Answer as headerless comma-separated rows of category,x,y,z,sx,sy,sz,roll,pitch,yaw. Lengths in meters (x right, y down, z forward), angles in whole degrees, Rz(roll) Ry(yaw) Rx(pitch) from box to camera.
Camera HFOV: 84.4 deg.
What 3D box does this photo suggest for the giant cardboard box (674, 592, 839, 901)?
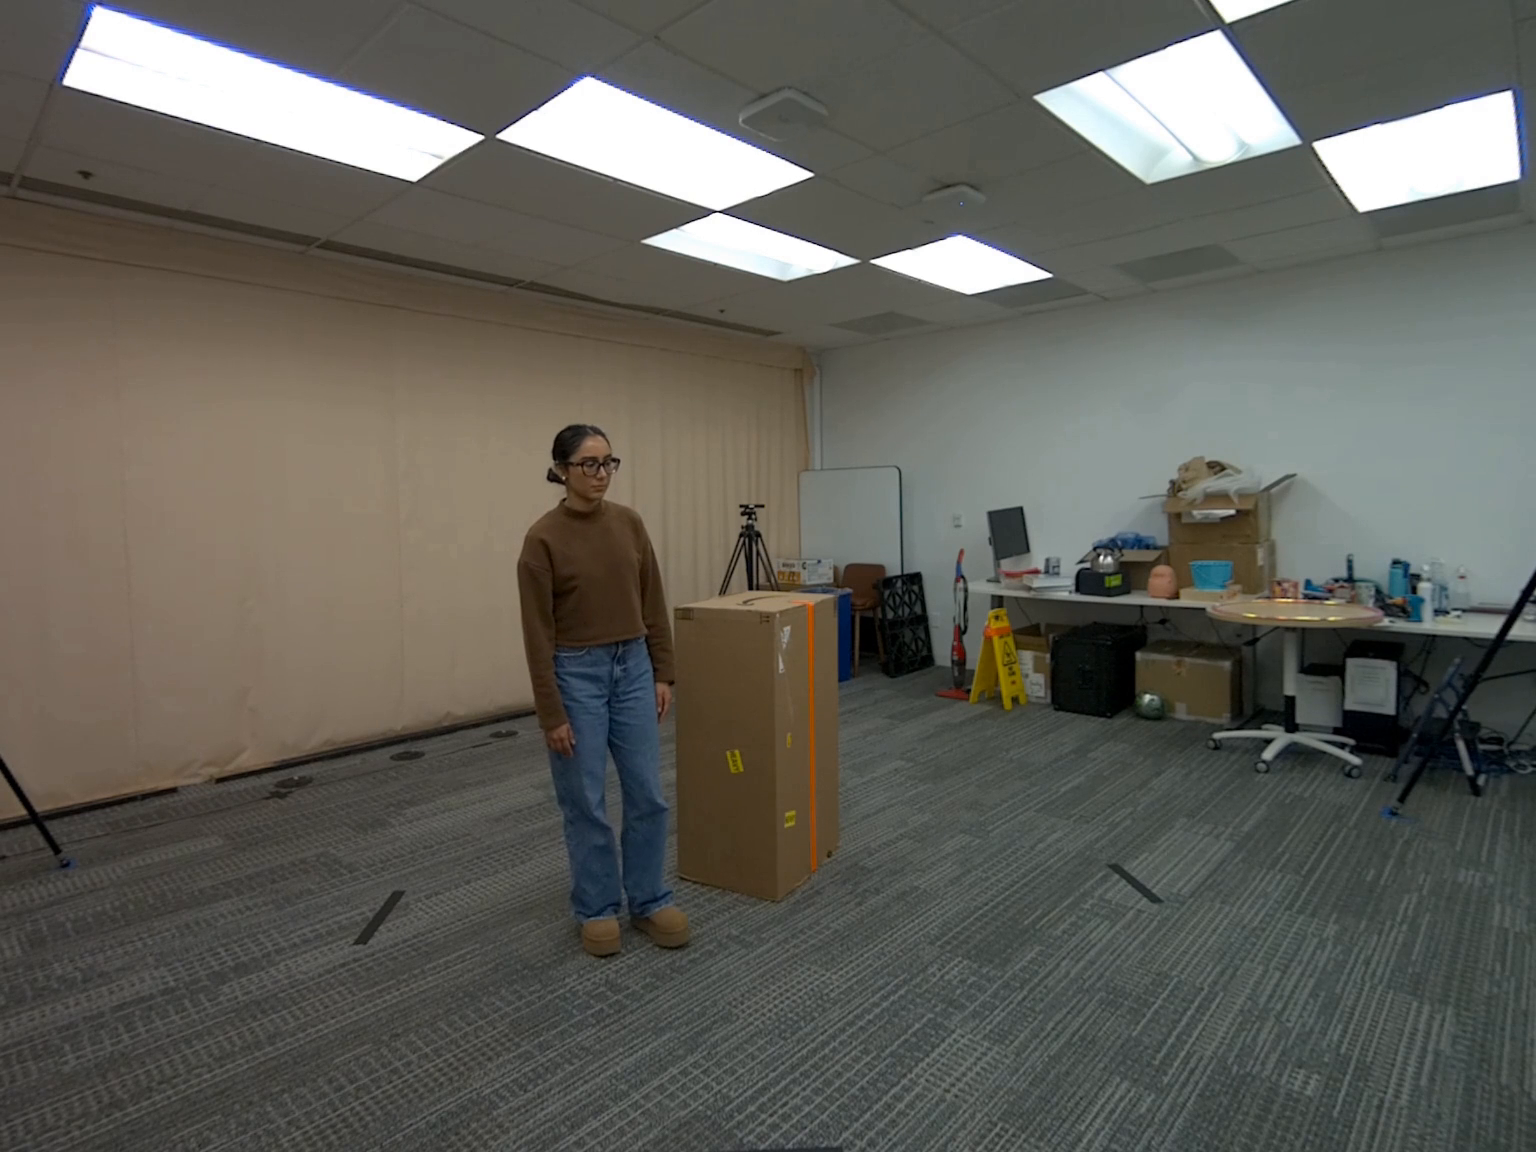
giant cardboard box,-0.022,0.606,3.269,0.438,1.024,0.562,1,4,29
